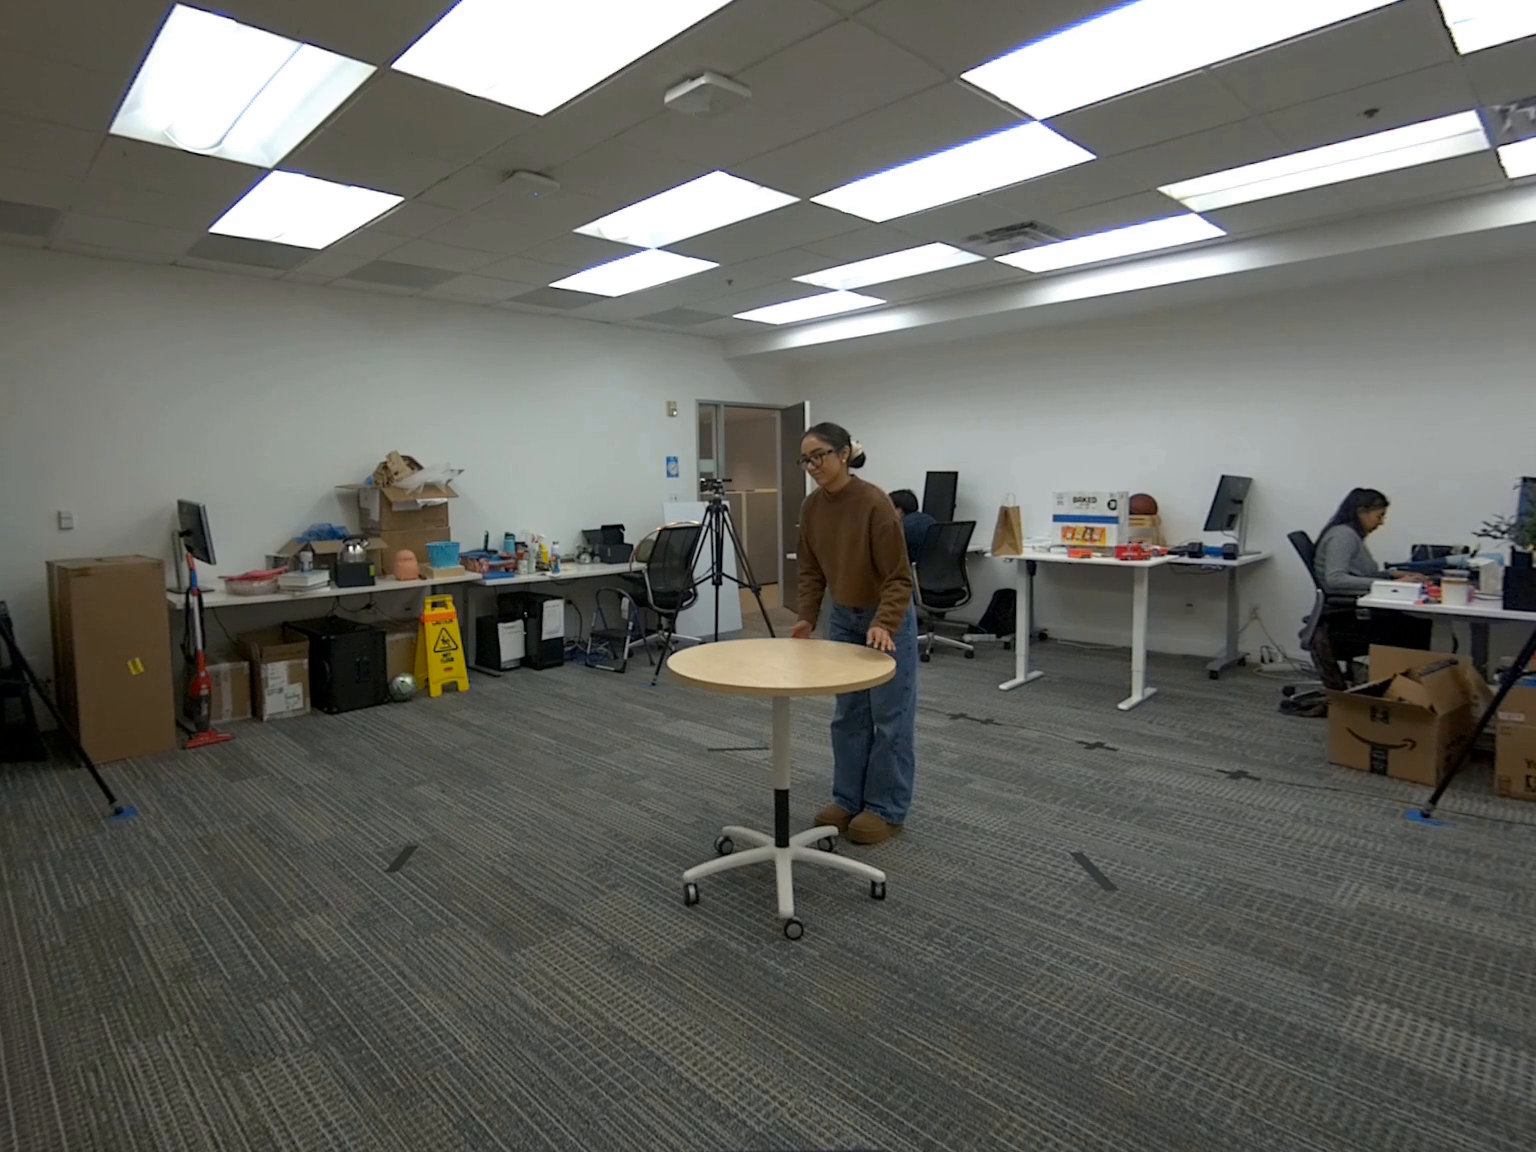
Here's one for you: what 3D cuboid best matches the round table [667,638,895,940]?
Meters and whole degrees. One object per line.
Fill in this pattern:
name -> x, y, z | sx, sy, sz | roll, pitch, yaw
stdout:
round table -> 0.043, 0.676, 2.909 | 0.763, 0.791, 0.768 | -1, 5, -2
